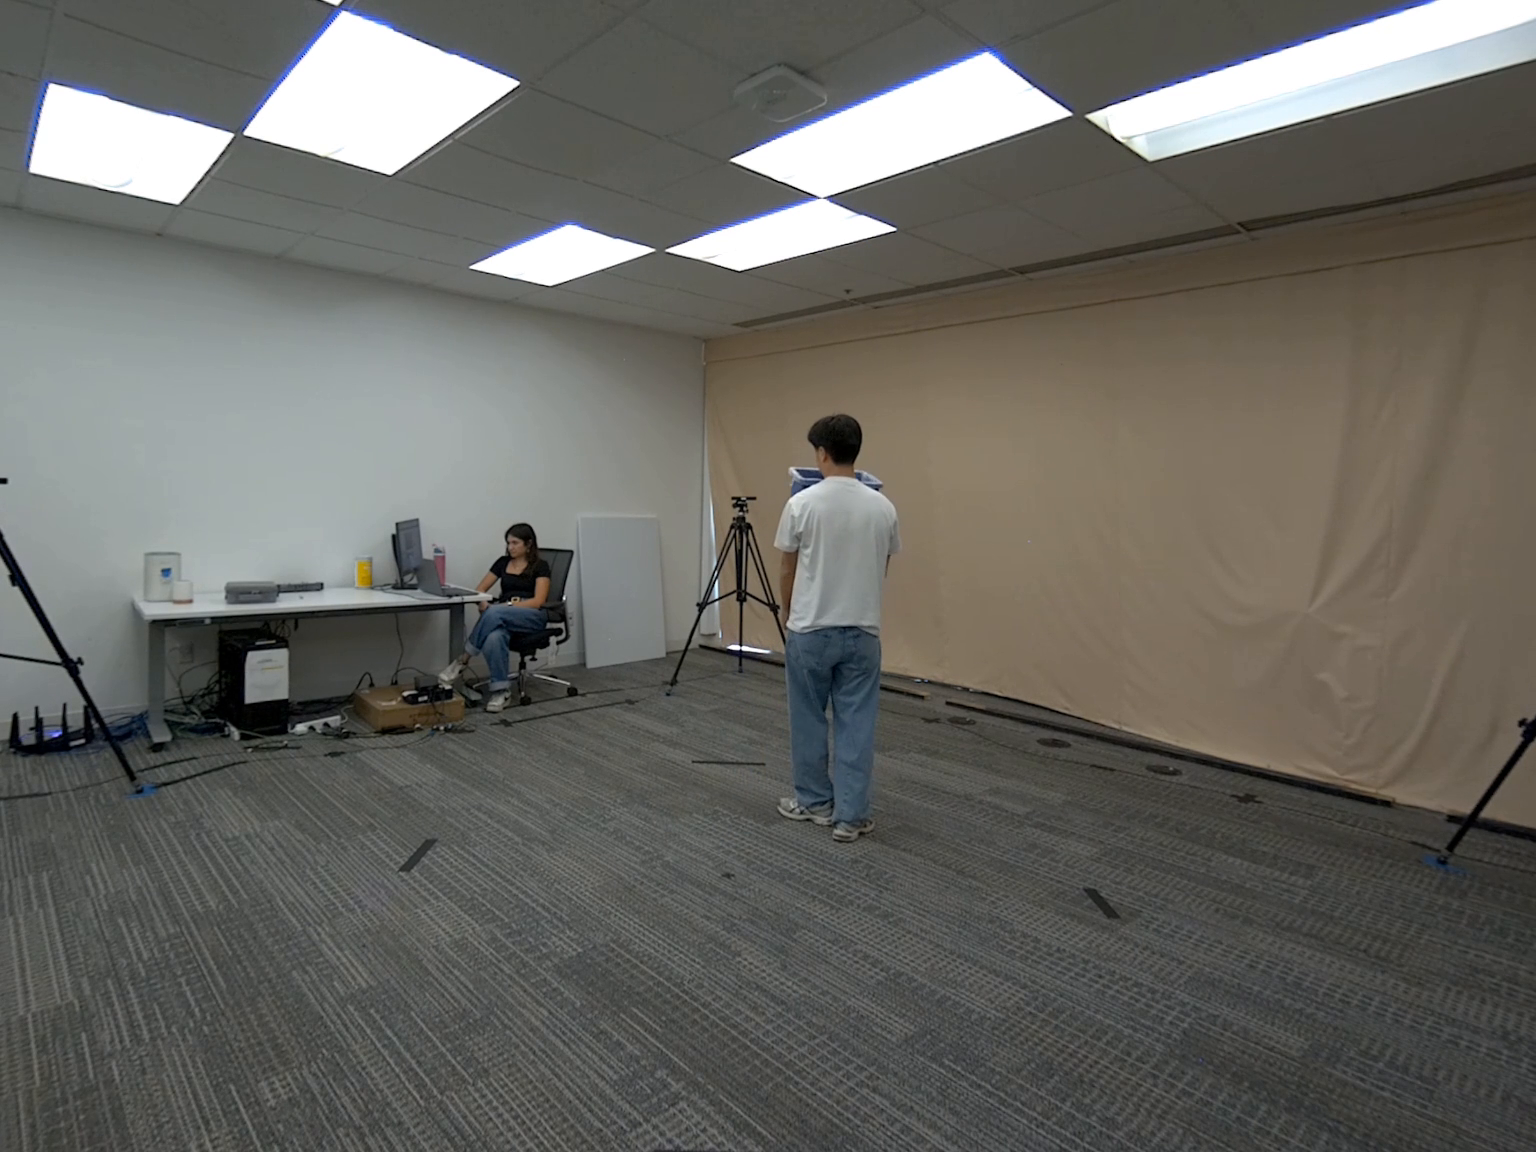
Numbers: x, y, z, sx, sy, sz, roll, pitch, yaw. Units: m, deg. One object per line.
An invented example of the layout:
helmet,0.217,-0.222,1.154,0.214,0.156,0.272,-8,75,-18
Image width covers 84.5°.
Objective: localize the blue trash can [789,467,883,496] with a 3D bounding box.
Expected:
blue trash can,0.266,-0.111,3.818,0.372,0.707,0.383,3,13,-5
